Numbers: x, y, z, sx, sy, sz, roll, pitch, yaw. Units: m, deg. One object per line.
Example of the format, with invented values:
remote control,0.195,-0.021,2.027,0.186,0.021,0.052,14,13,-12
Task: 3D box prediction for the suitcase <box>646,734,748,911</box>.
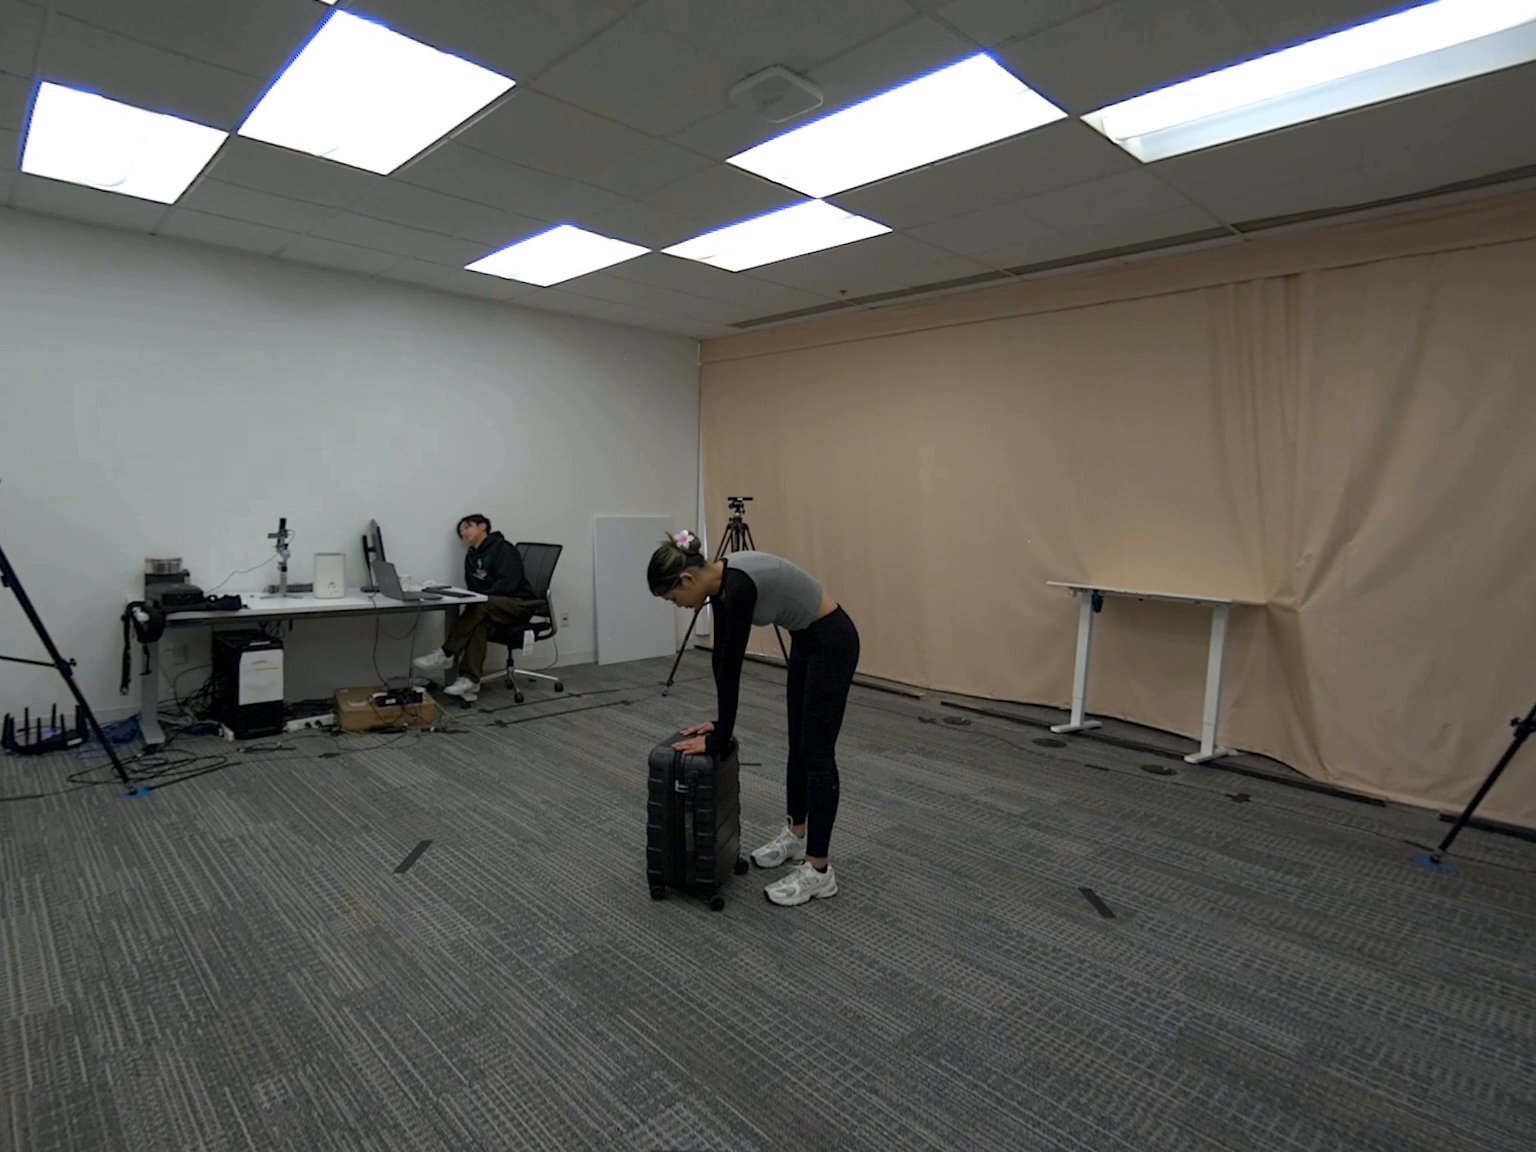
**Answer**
suitcase,-0.262,0.839,3.006,0.252,0.548,0.371,1,4,18
